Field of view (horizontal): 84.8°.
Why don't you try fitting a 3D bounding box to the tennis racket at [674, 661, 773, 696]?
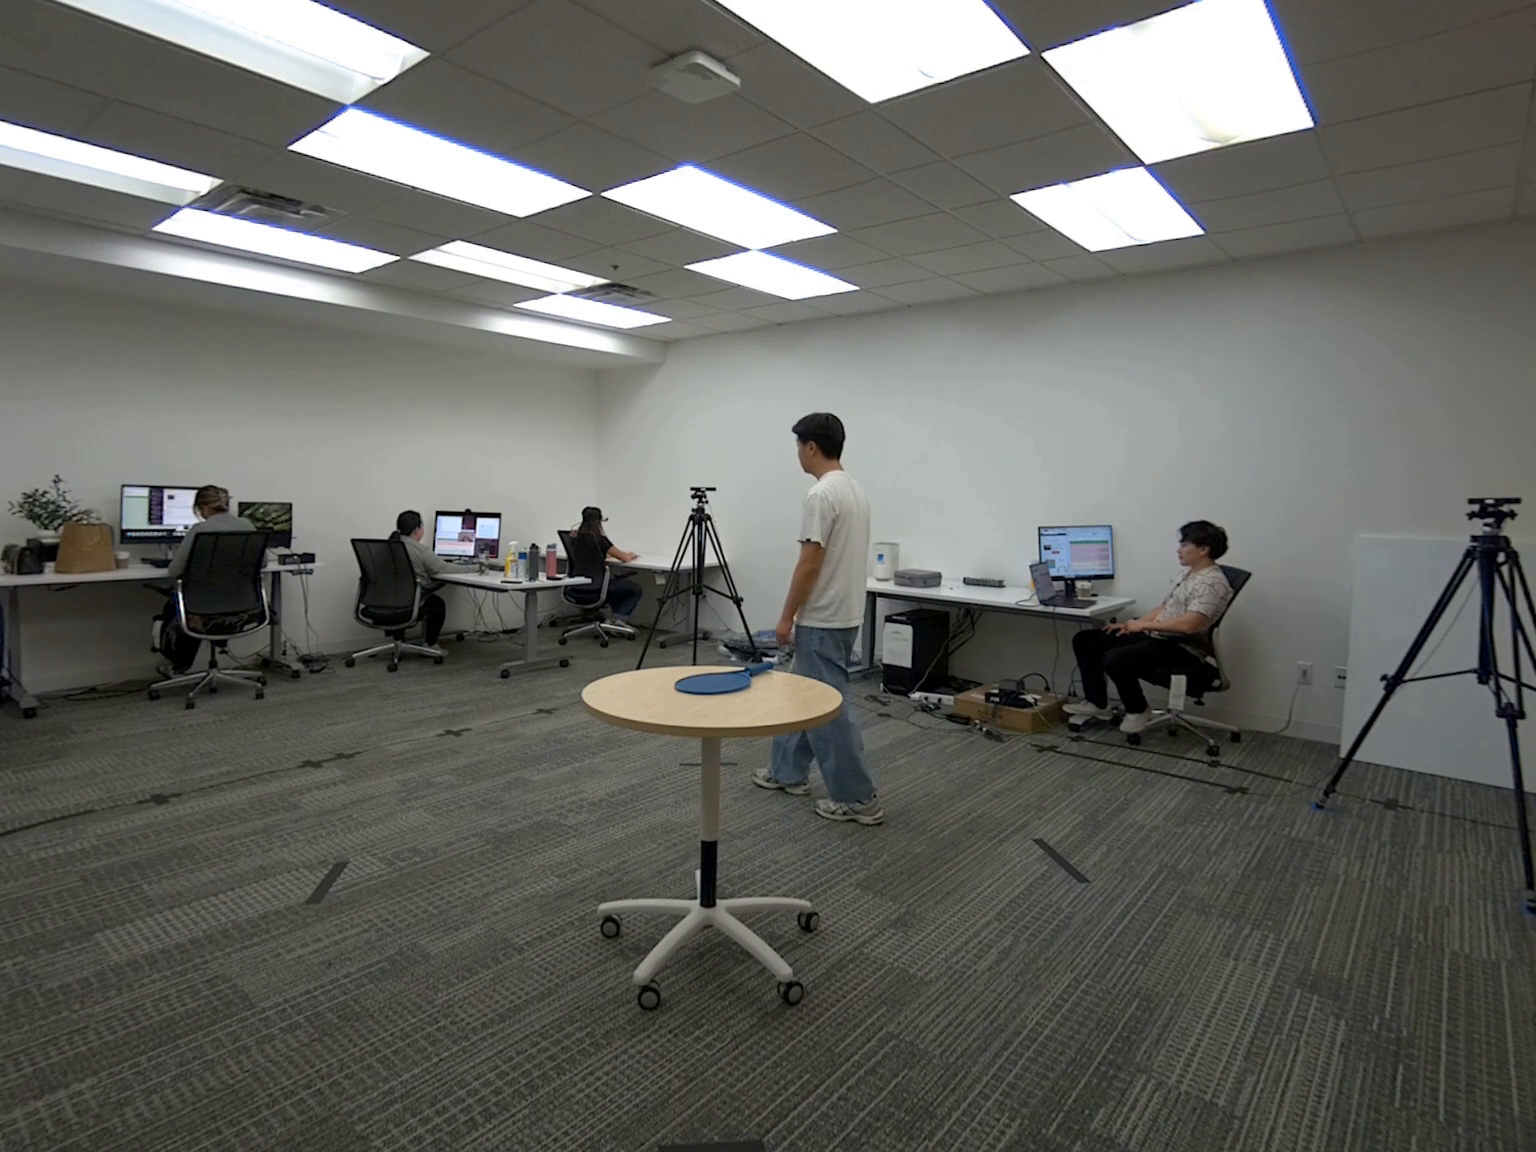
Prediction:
[{"bbox_3d":[-0.123,0.320,2.667,0.221,0.031,0.421,5,9,38],"label":"tennis racket"}]
